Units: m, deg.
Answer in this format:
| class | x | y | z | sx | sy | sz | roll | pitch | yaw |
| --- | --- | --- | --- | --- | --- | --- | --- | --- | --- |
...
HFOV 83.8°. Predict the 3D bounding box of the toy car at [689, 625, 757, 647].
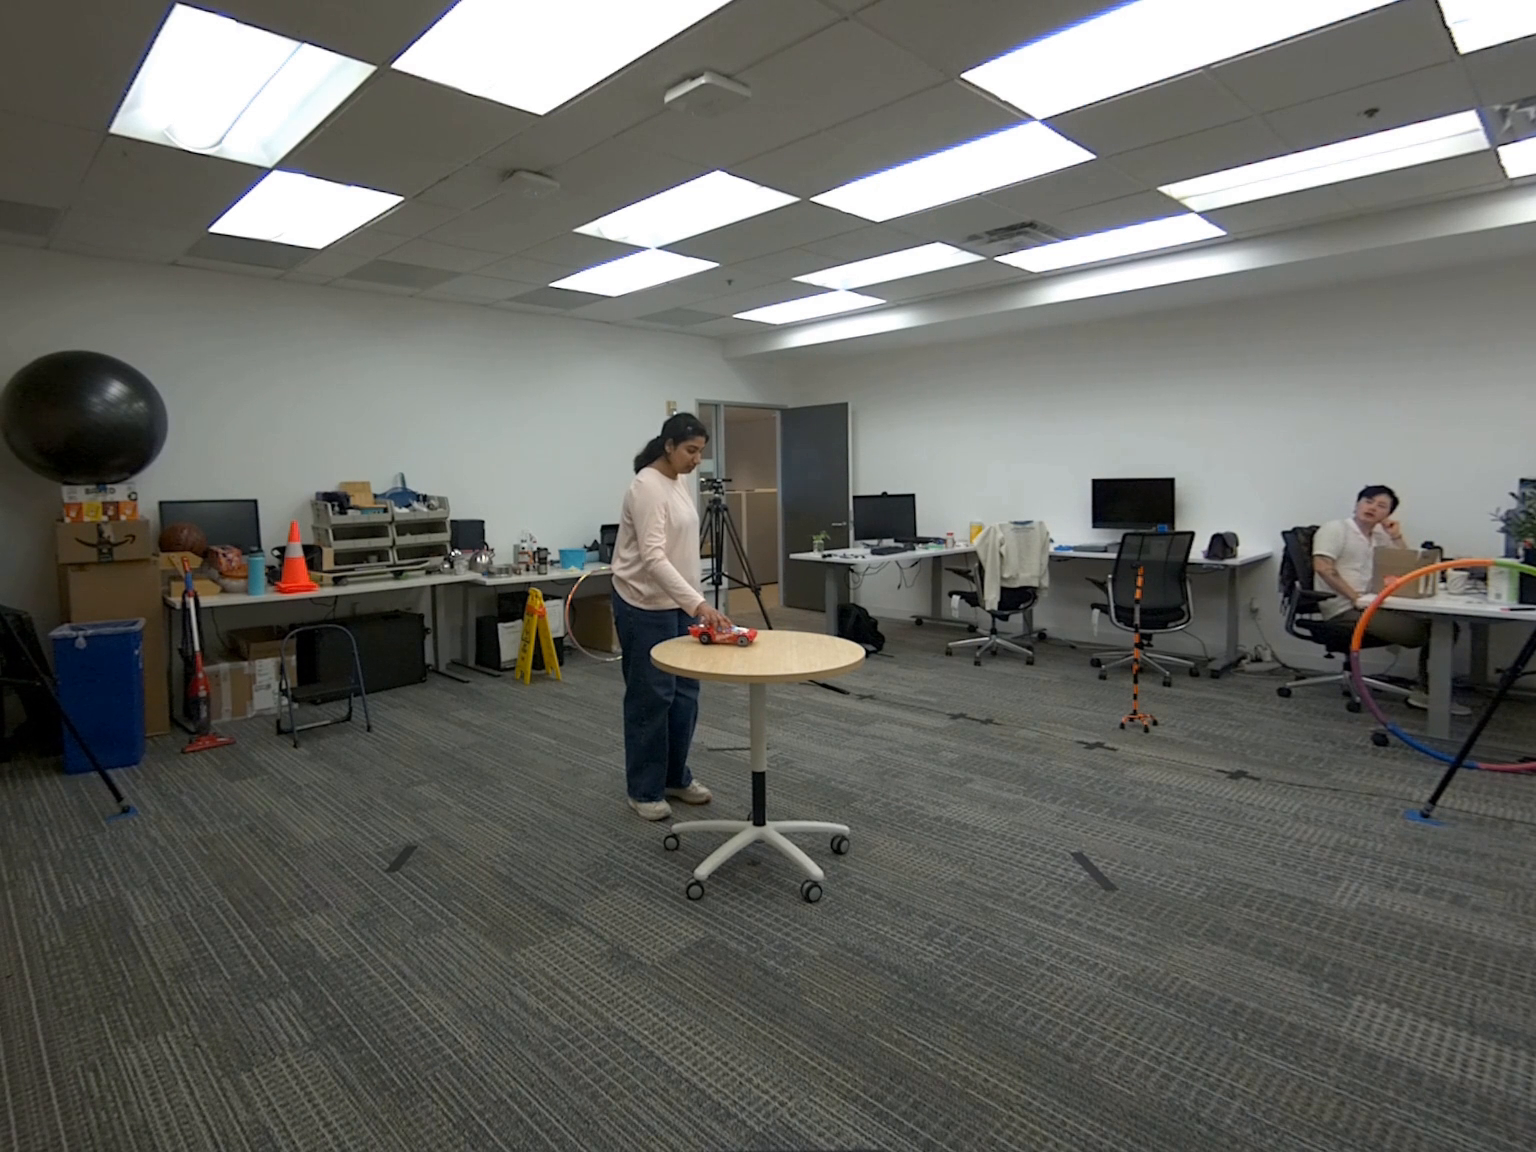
| class | x | y | z | sx | sy | sz | roll | pitch | yaw |
| --- | --- | --- | --- | --- | --- | --- | --- | --- | --- |
| toy car | -0.170 | 0.217 | 3.192 | 0.259 | 0.083 | 0.129 | 13 | 8 | 14 |
